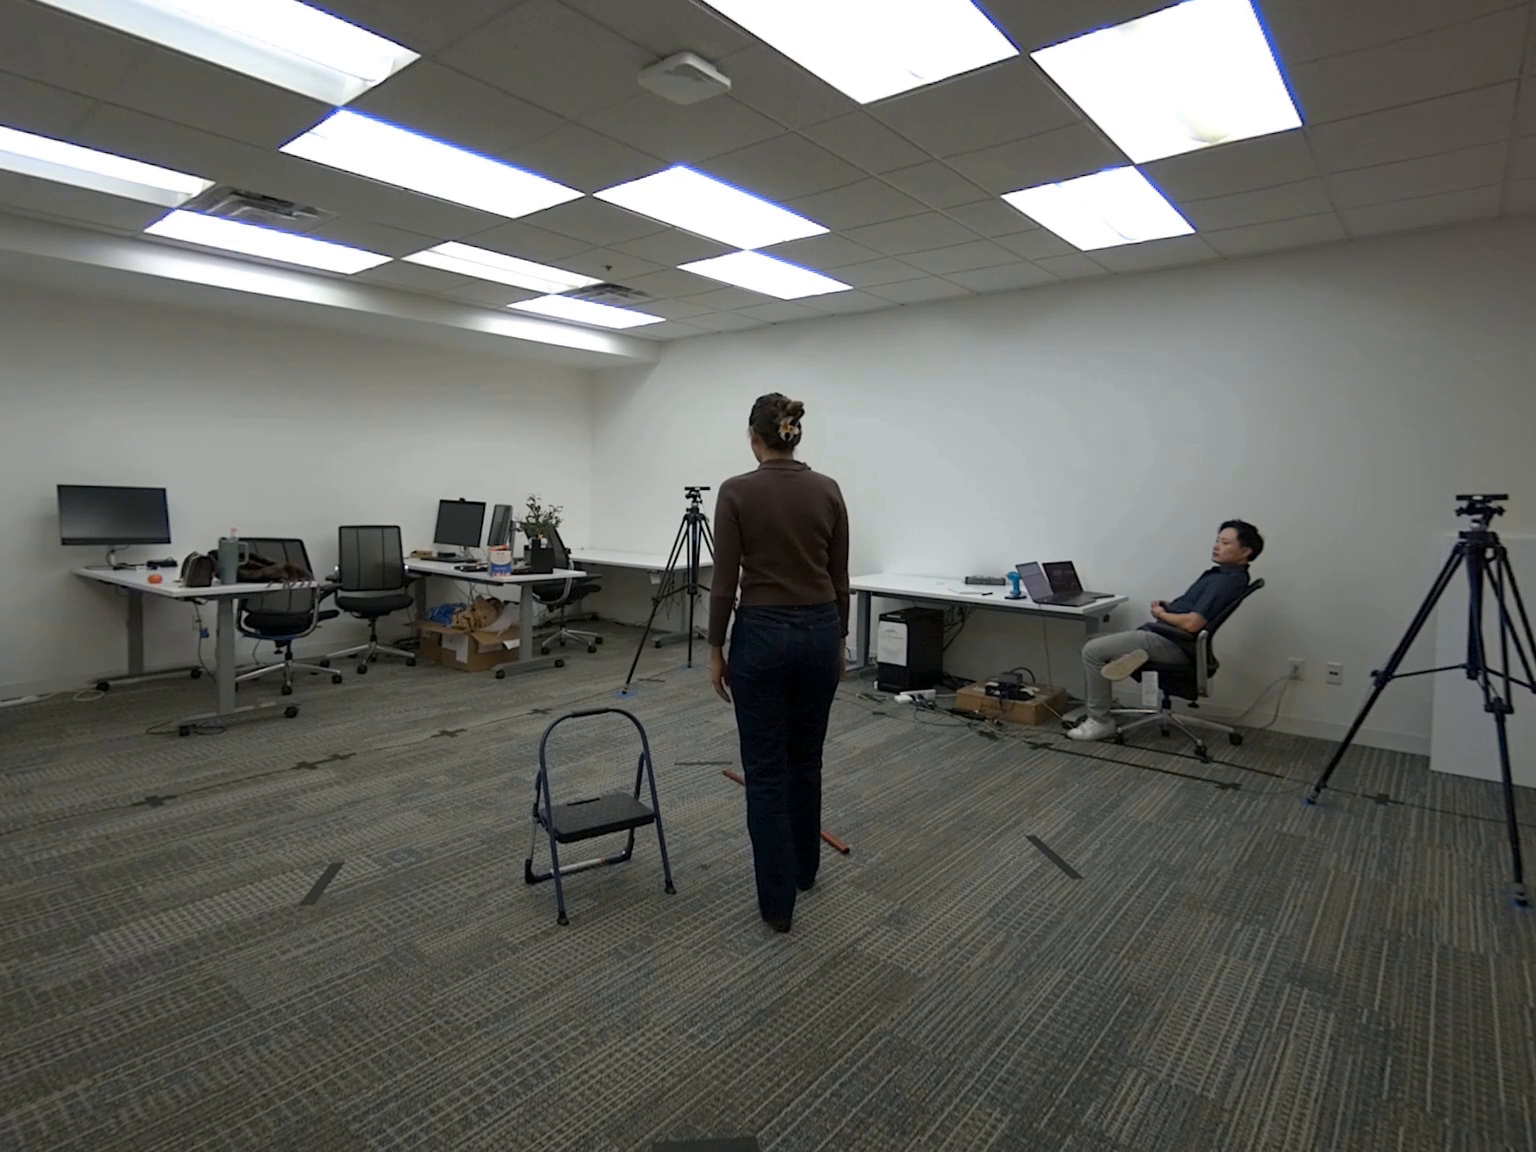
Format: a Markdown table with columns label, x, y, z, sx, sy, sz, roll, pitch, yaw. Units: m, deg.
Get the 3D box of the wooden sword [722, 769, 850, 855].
| label | x | y | z | sx | sy | sz | roll | pitch | yaw |
| --- | --- | --- | --- | --- | --- | --- | --- | --- | --- |
| wooden sword | 0.038 | 0.989 | 3.699 | 0.050 | 0.024 | 1.055 | 14 | -2 | -29 |
